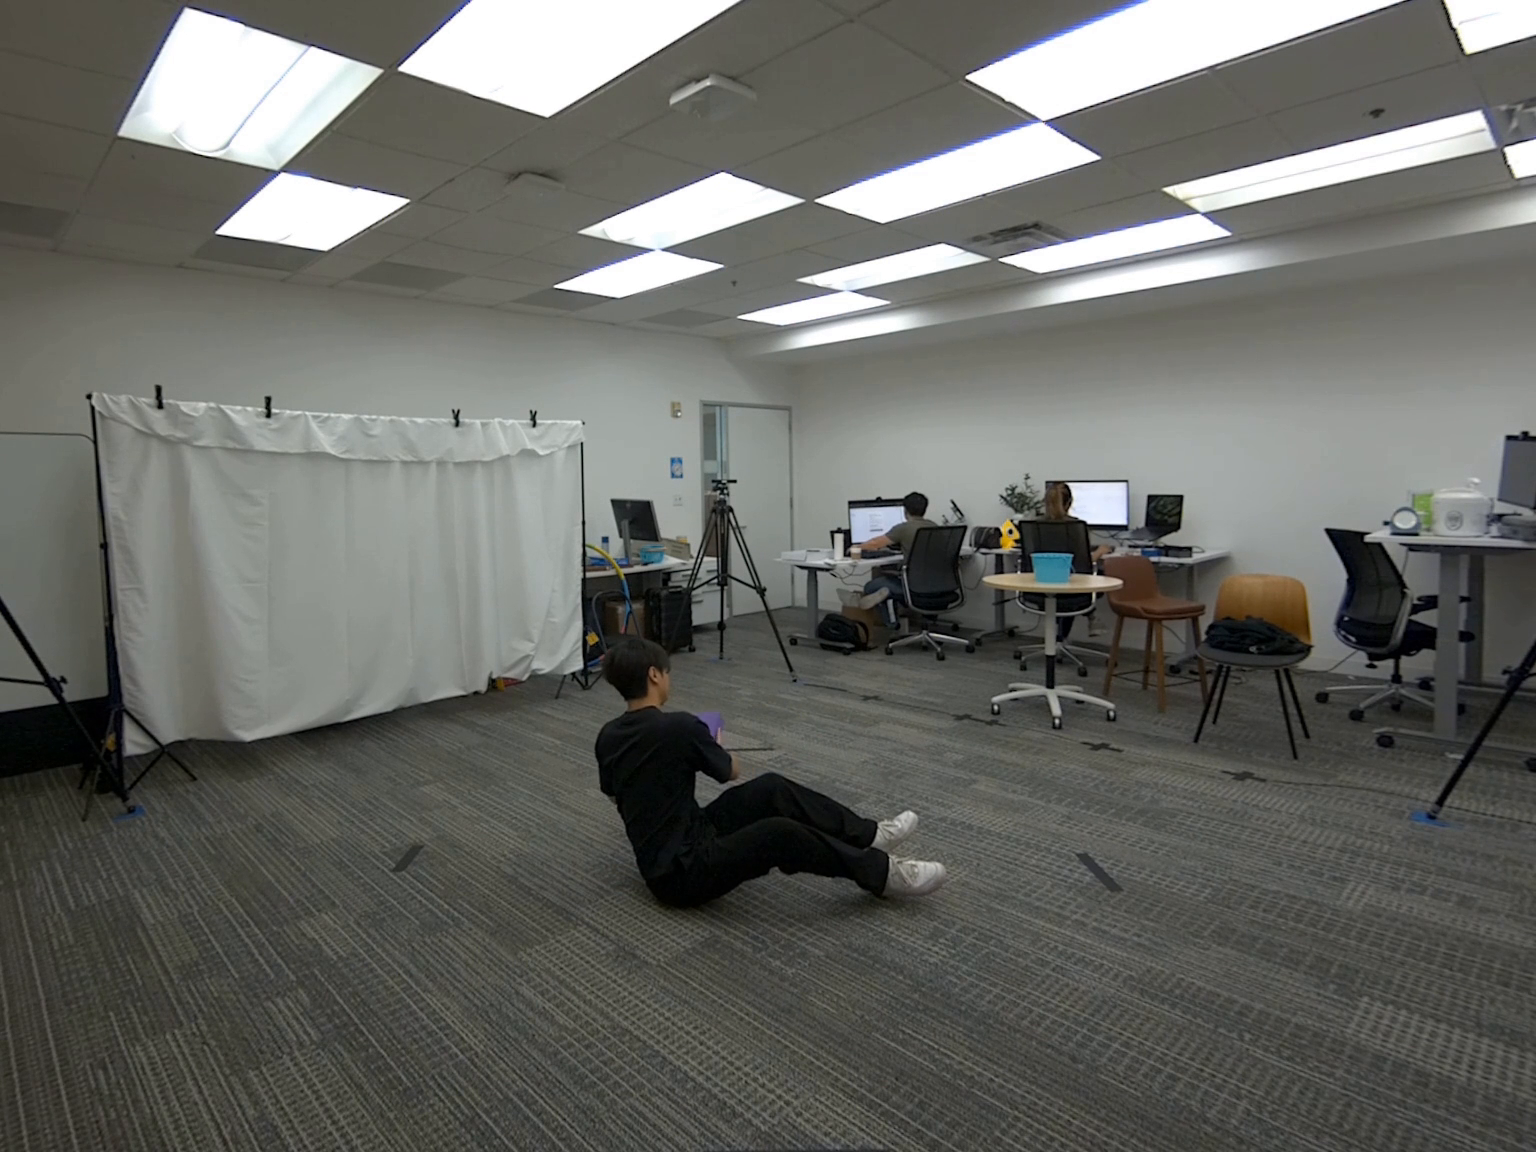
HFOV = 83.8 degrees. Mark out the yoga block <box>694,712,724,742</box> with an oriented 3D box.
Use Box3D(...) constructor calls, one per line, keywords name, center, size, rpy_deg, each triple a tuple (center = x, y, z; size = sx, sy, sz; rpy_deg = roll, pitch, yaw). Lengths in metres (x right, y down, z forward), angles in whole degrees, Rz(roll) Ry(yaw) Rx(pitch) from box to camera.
Box3D(name="yoga block", center=(-0.267, 0.642, 3.354), size=(0.152, 0.074, 0.232), rpy_deg=(-6, 37, 23))
